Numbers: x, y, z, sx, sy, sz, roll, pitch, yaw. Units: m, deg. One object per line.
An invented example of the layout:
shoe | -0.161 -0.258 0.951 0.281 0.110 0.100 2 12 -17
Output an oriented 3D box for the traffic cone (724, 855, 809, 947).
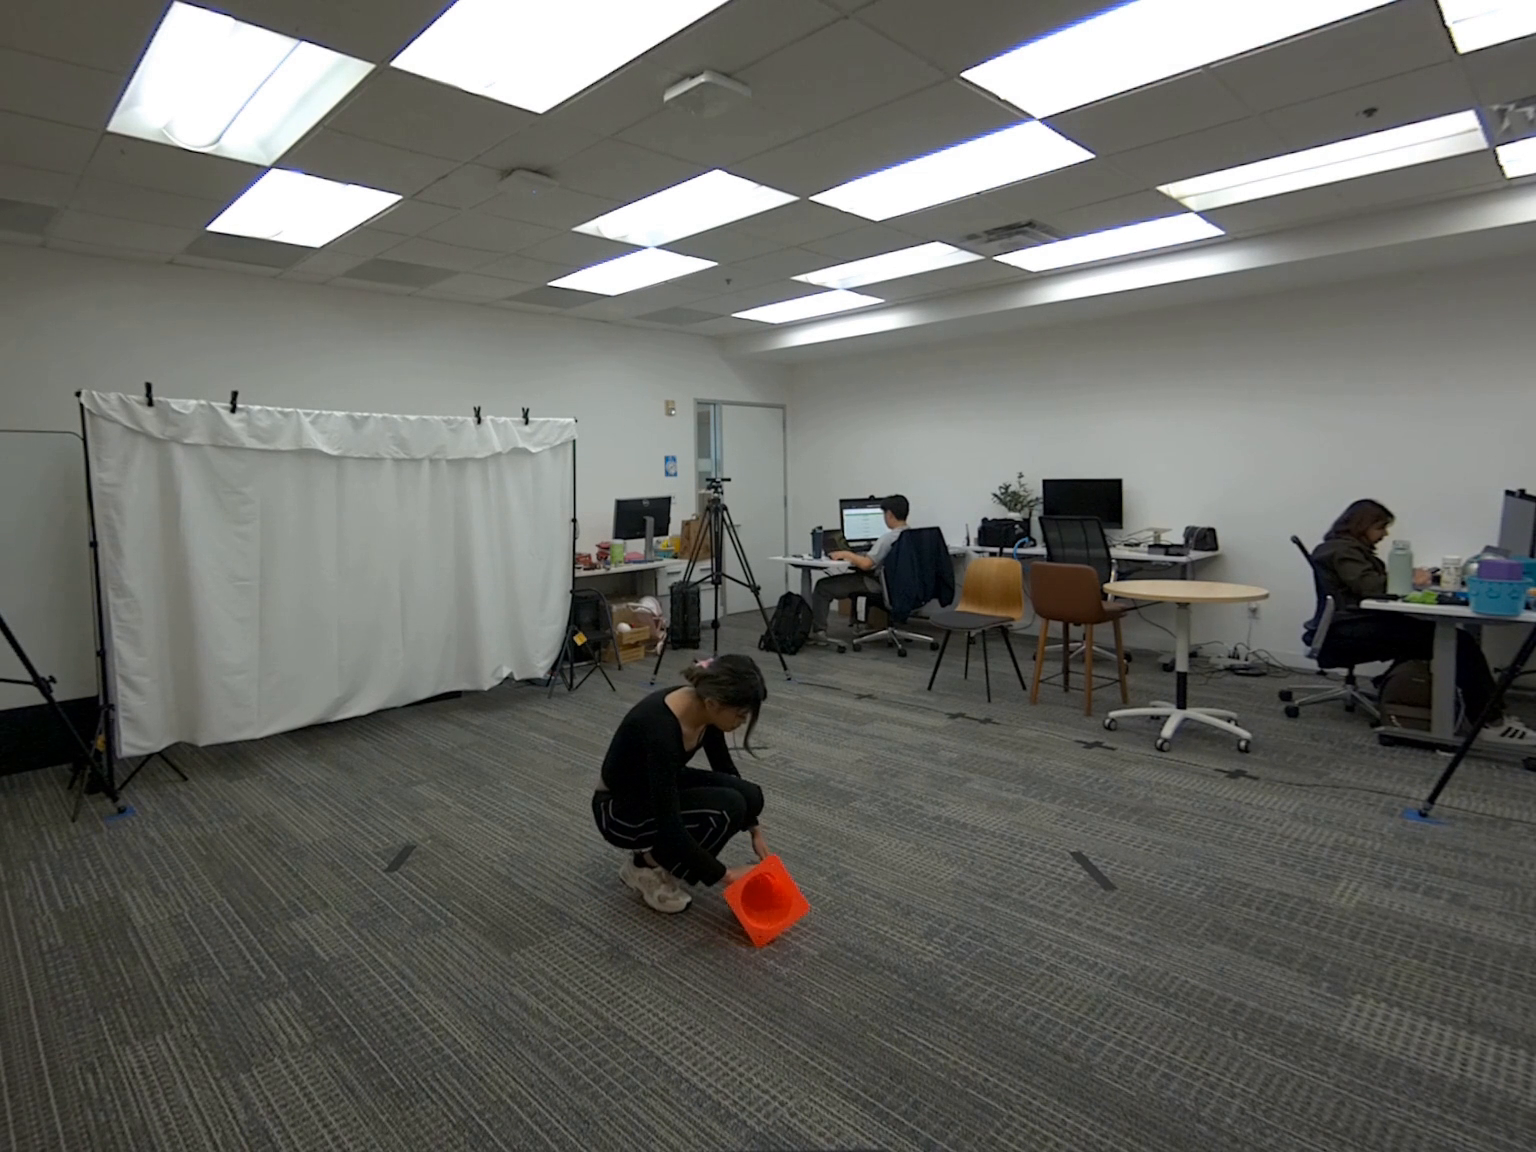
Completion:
traffic cone | -0.037 1.021 2.759 0.202 0.207 0.381 -37 -6 -15
